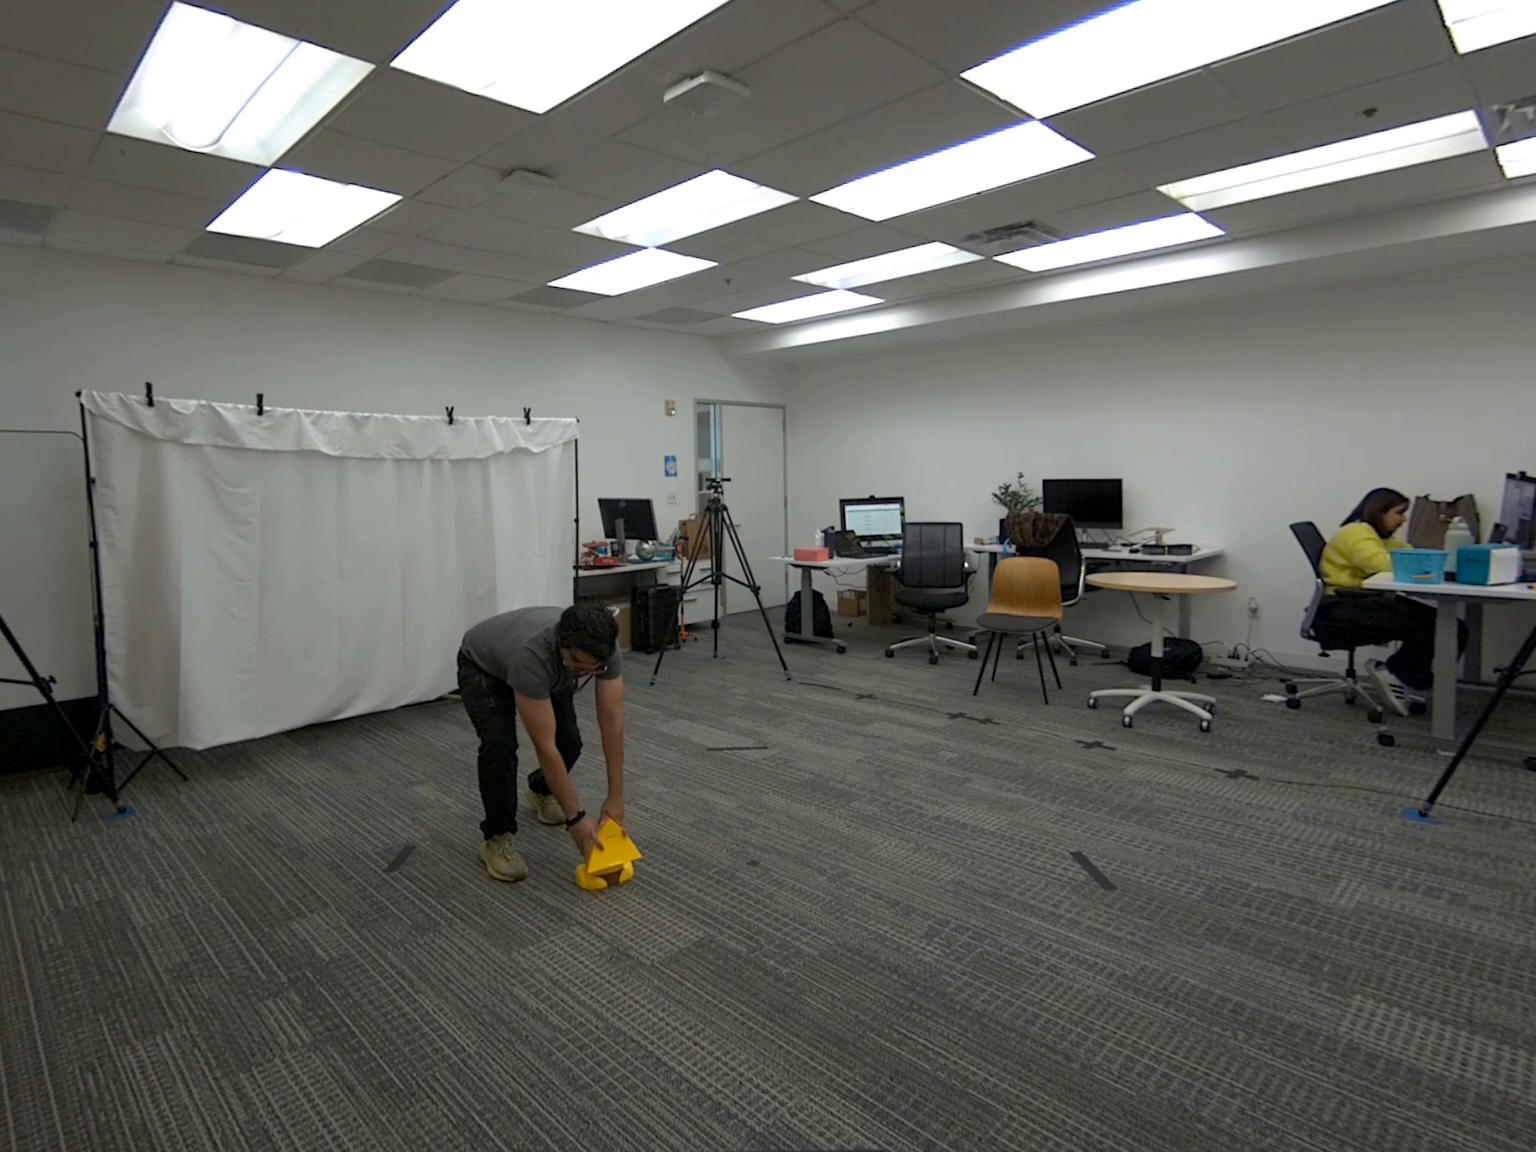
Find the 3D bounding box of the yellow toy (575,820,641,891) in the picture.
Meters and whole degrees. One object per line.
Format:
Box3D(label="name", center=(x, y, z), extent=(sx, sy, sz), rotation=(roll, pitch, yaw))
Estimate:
Box3D(label="yellow toy", center=(-0.579, 0.949, 3.008), extent=(0.200, 0.230, 0.199), rotation=(-5, 6, -34))
